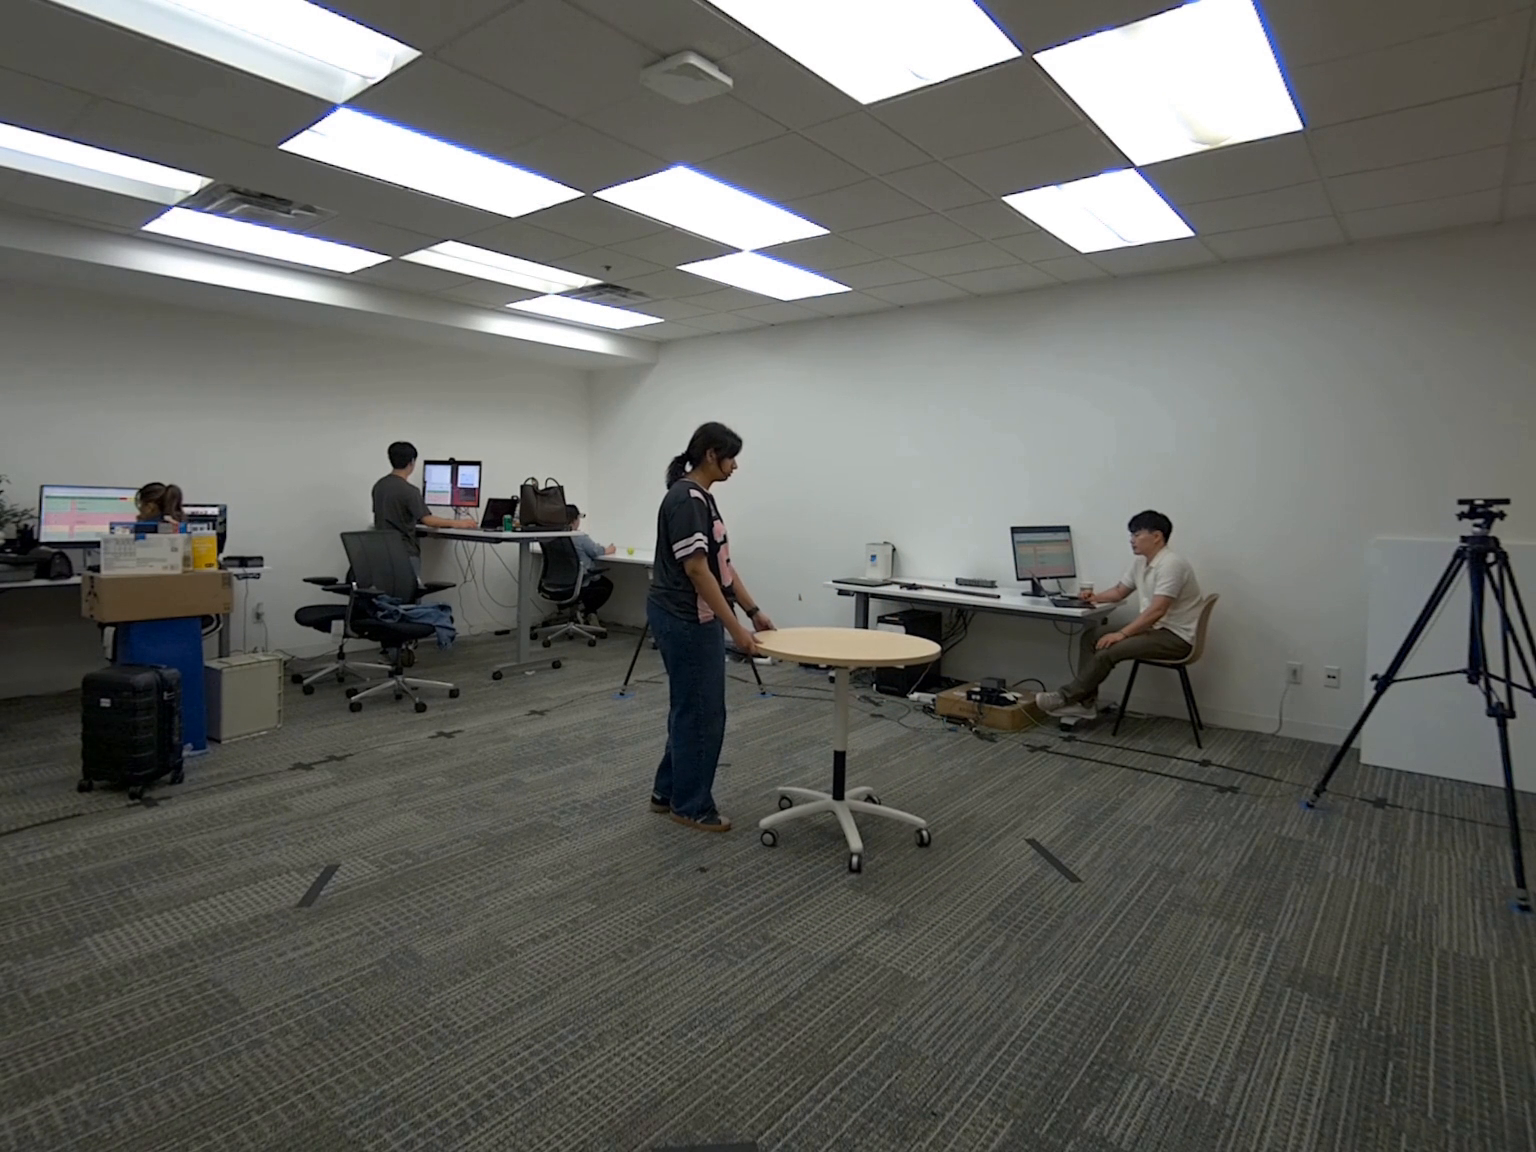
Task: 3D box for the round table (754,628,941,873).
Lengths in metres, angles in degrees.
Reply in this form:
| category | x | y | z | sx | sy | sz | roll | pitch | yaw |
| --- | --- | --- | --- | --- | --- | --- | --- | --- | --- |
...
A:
| category | x | y | z | sx | sy | sz | roll | pitch | yaw |
| --- | --- | --- | --- | --- | --- | --- | --- | --- | --- |
| round table | 0.285 | 0.659 | 3.444 | 0.763 | 0.792 | 0.767 | 2 | 4 | -2 |
